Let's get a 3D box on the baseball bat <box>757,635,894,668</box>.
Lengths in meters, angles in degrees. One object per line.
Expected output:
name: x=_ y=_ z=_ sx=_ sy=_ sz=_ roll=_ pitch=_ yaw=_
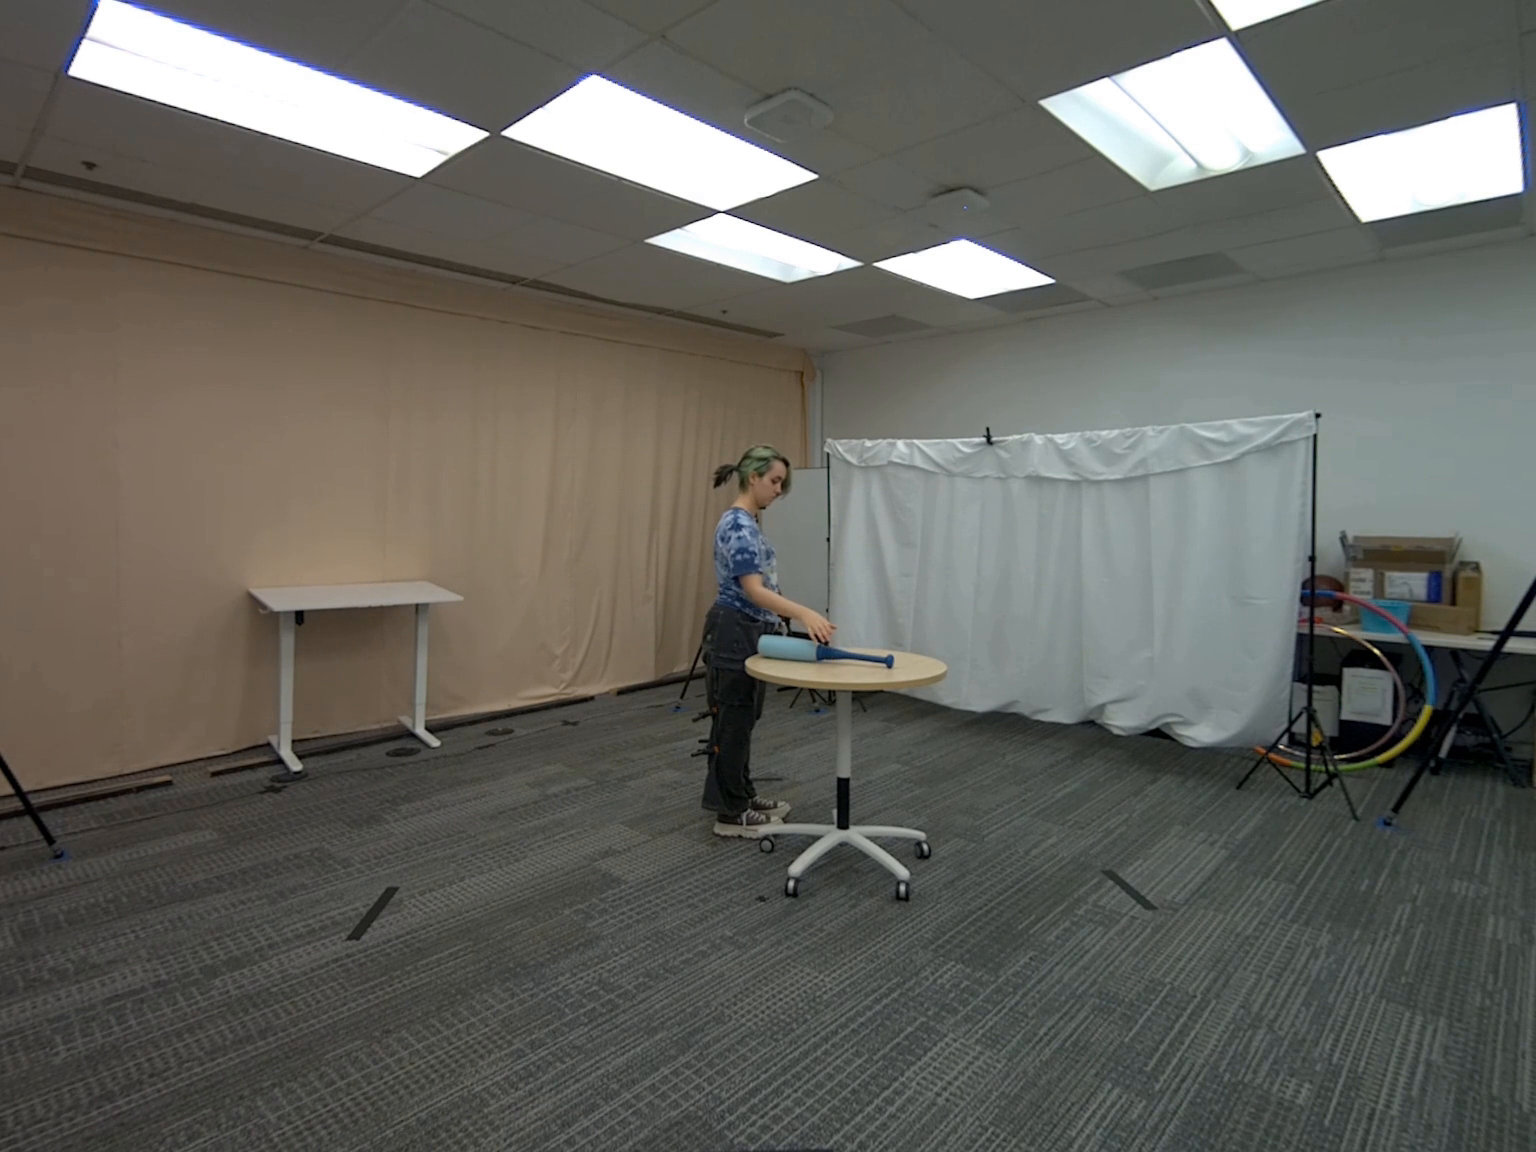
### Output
baseball bat: x=0.222 y=0.300 z=3.250 sx=0.557 sy=0.089 sz=0.087 roll=5 pitch=6 yaw=25
